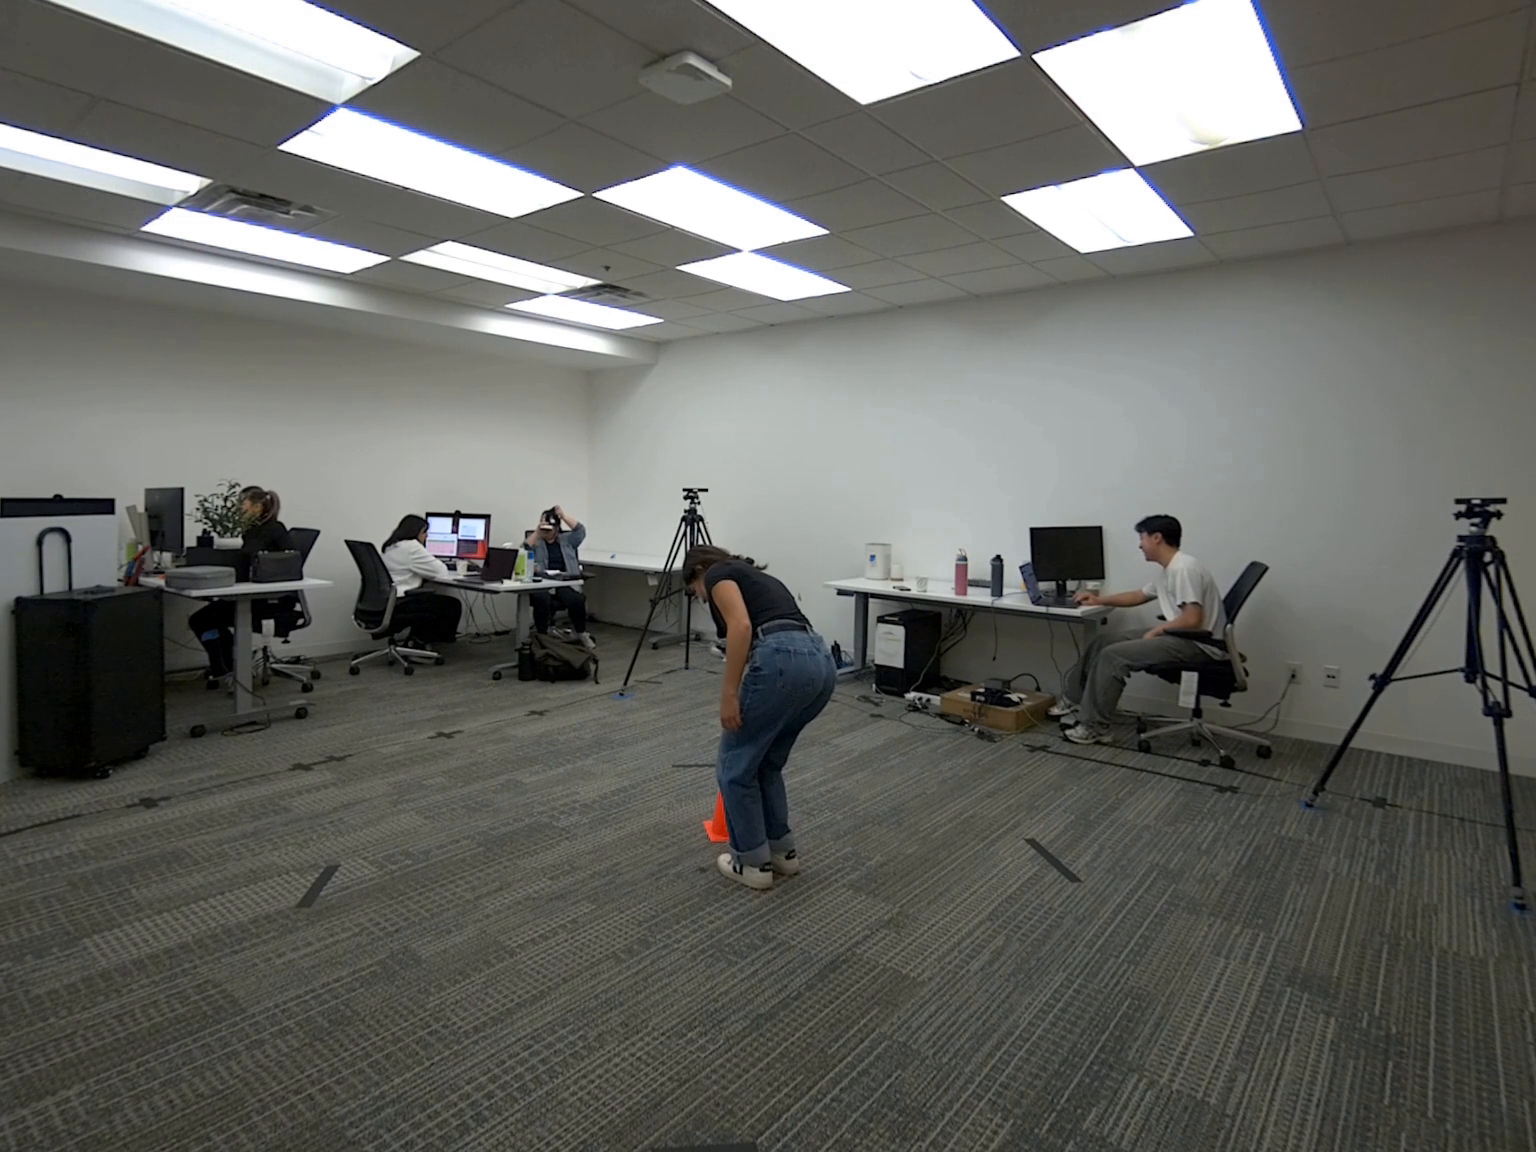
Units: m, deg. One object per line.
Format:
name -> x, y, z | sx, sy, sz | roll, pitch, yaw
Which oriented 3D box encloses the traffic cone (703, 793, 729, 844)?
traffic cone -> -0.142, 0.839, 3.469 | 0.201, 0.382, 0.208 | 1, 3, -12
